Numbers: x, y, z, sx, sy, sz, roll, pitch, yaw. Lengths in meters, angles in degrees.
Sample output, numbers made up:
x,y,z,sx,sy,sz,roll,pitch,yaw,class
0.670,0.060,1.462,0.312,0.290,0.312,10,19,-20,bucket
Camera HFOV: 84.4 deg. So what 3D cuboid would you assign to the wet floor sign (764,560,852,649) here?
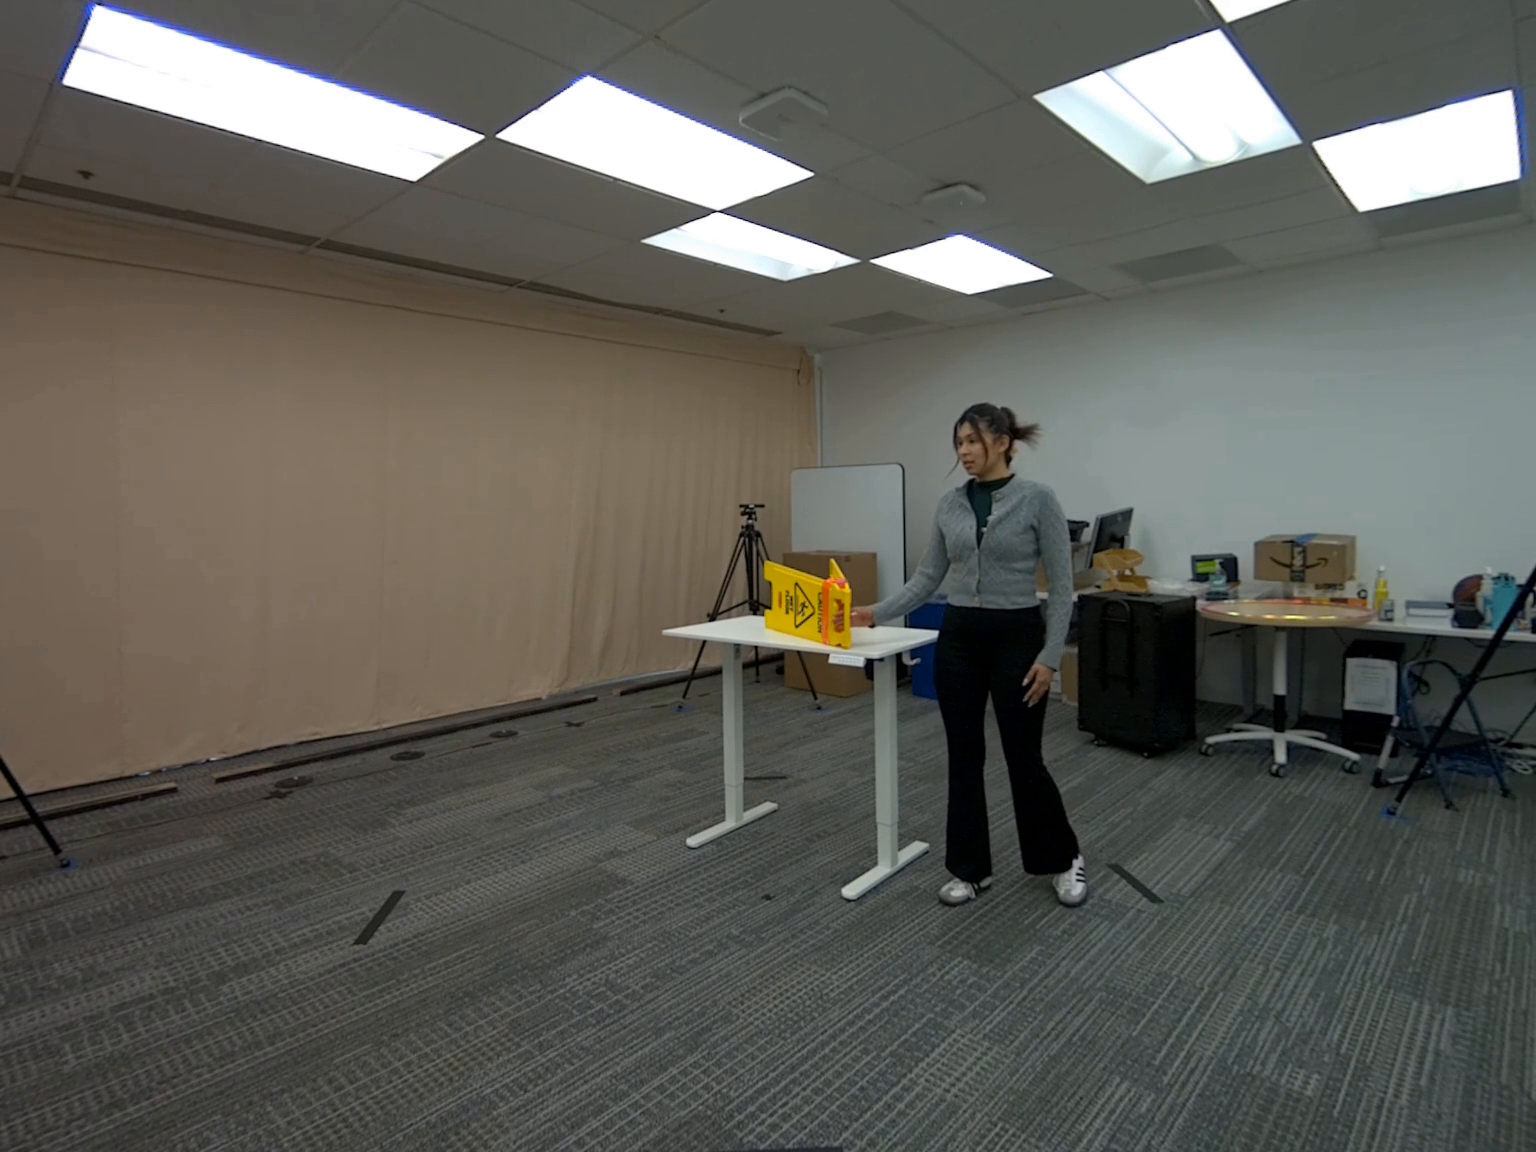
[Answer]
x,y,z,sx,sy,sz,roll,pitch,yaw,class
0.207,0.111,3.211,0.286,0.281,0.656,-2,7,-12,wet floor sign
